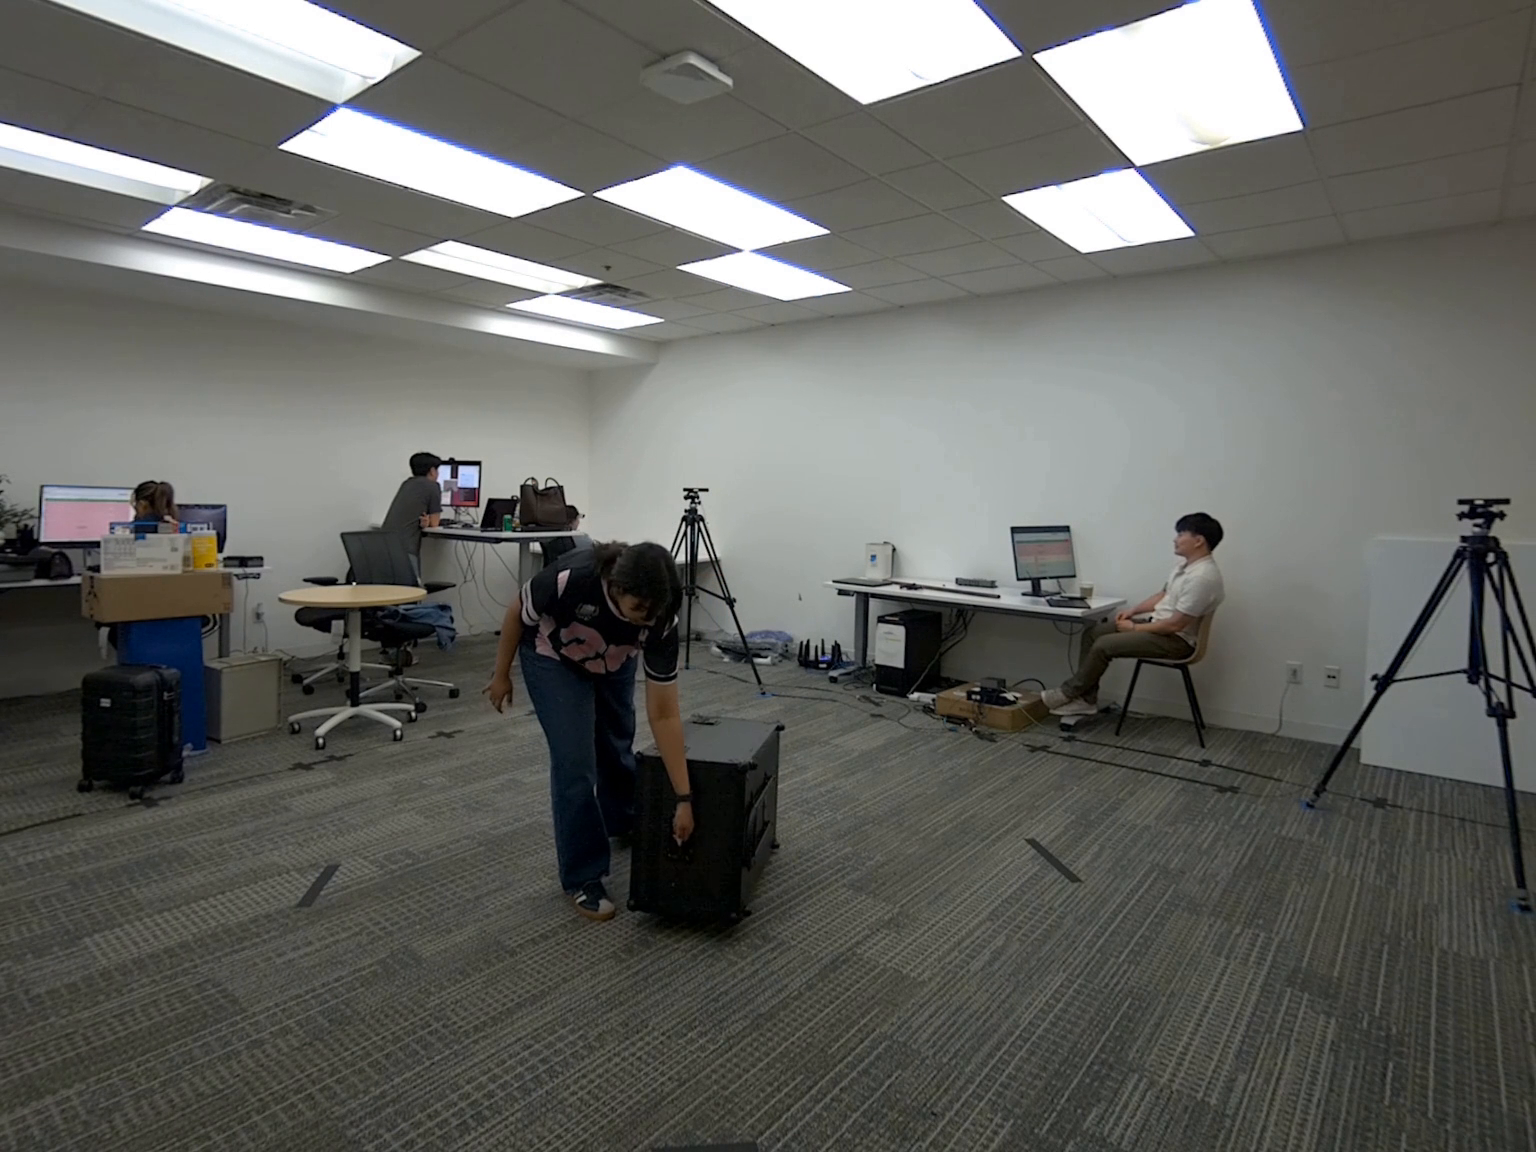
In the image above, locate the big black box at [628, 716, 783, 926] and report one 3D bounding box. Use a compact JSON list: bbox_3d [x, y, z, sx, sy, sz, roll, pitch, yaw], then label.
[{"bbox_3d":[-0.189,0.798,3.029,0.390,0.524,0.858,0,0,9],"label":"big black box"}]
